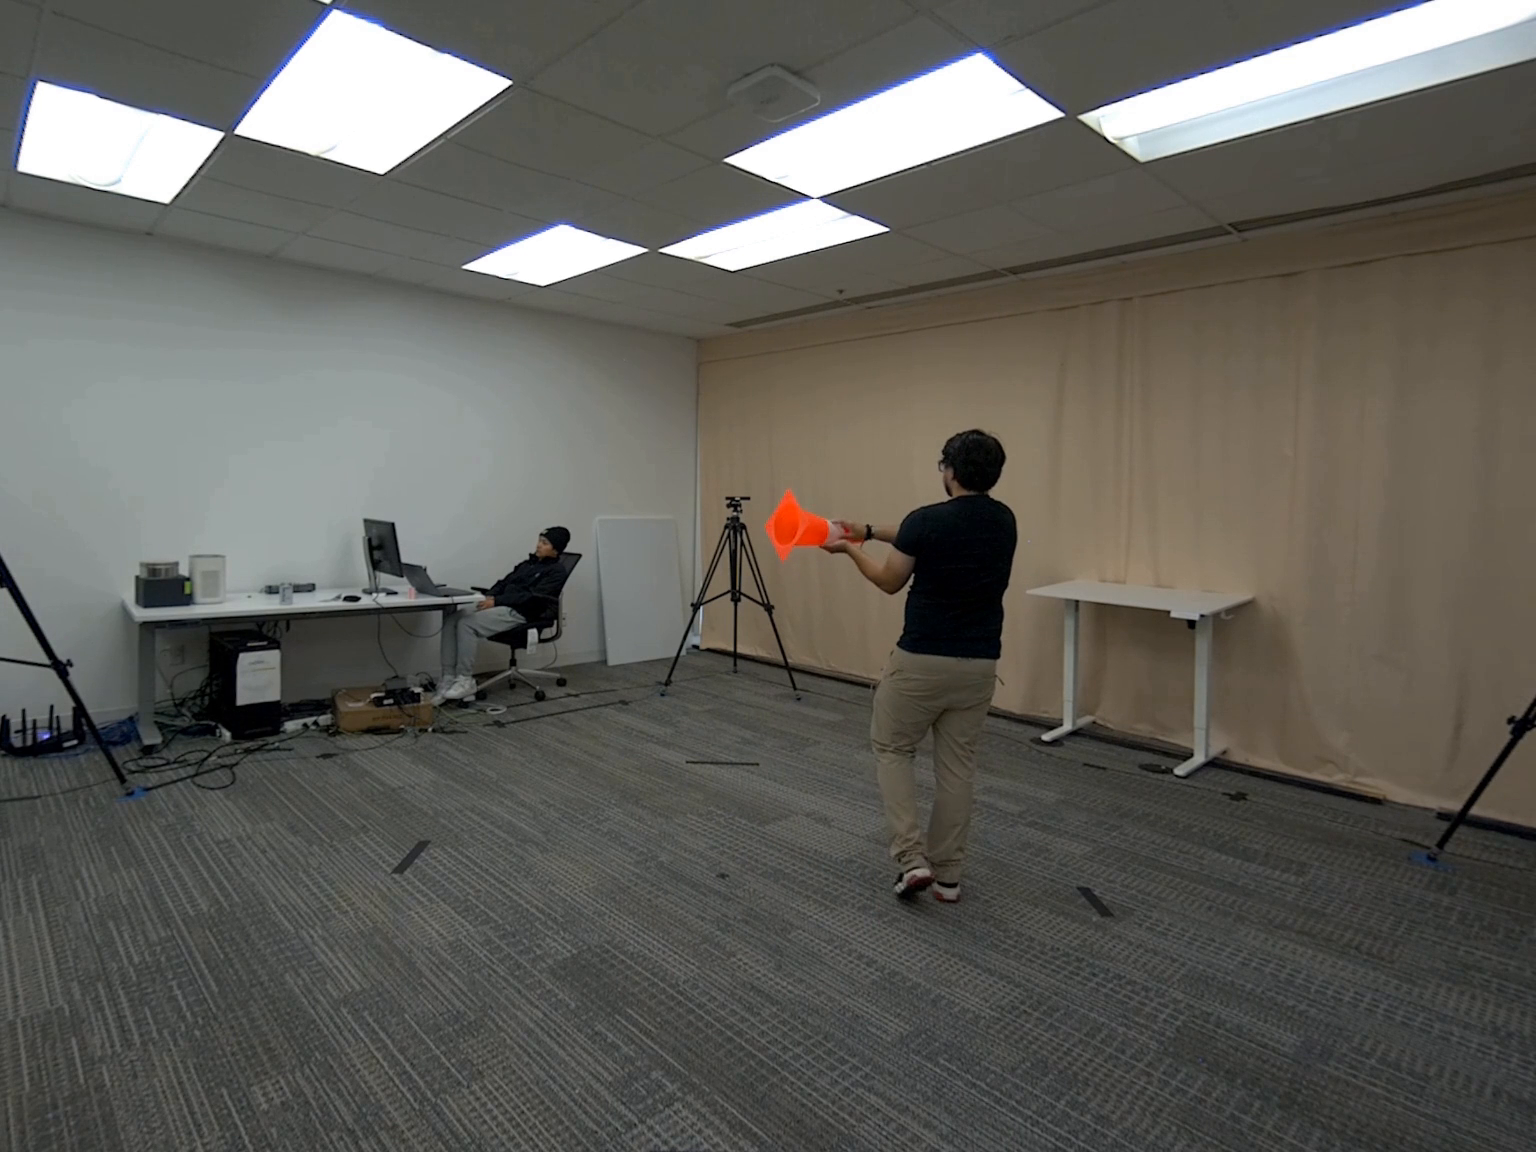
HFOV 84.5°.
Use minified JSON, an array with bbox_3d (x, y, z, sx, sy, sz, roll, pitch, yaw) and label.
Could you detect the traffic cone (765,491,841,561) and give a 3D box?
[{"bbox_3d":[0.215,-0.163,3.226,0.374,0.202,0.211,8,37,-32],"label":"traffic cone"}]
